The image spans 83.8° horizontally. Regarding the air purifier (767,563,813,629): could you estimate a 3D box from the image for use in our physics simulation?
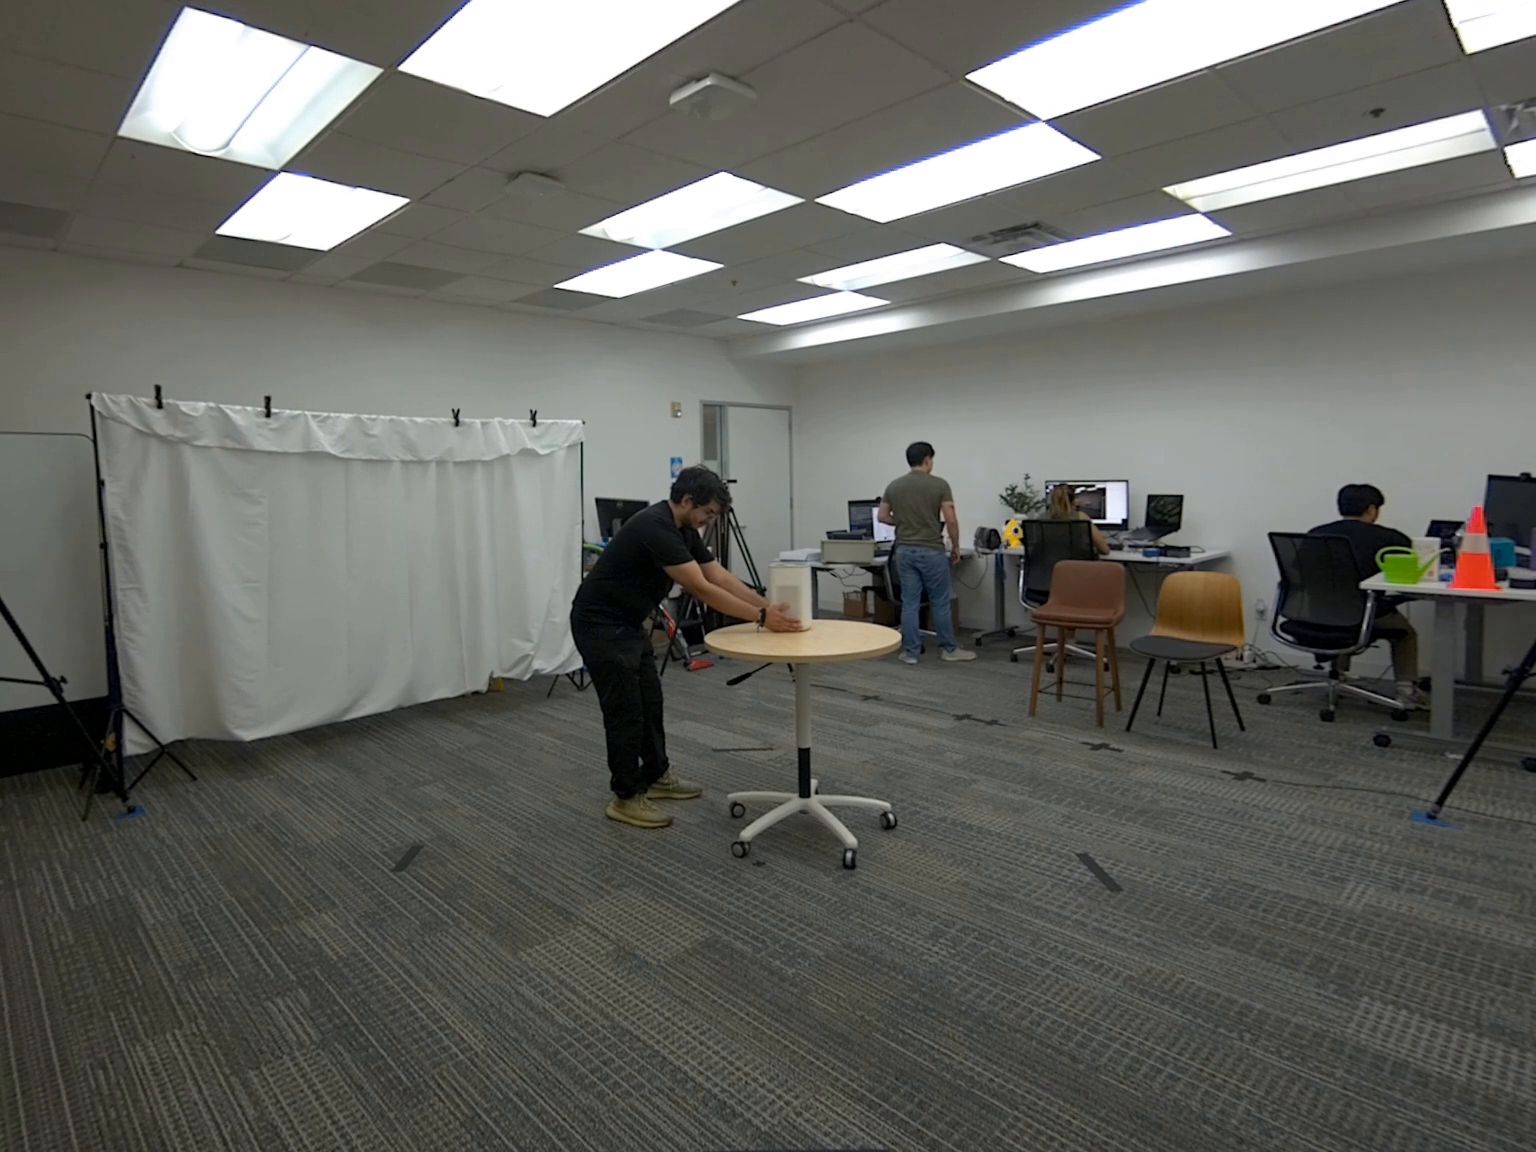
[{"bbox_3d":[0.085,0.081,3.503,0.173,0.265,0.170,0,2,8],"label":"air purifier"}]
